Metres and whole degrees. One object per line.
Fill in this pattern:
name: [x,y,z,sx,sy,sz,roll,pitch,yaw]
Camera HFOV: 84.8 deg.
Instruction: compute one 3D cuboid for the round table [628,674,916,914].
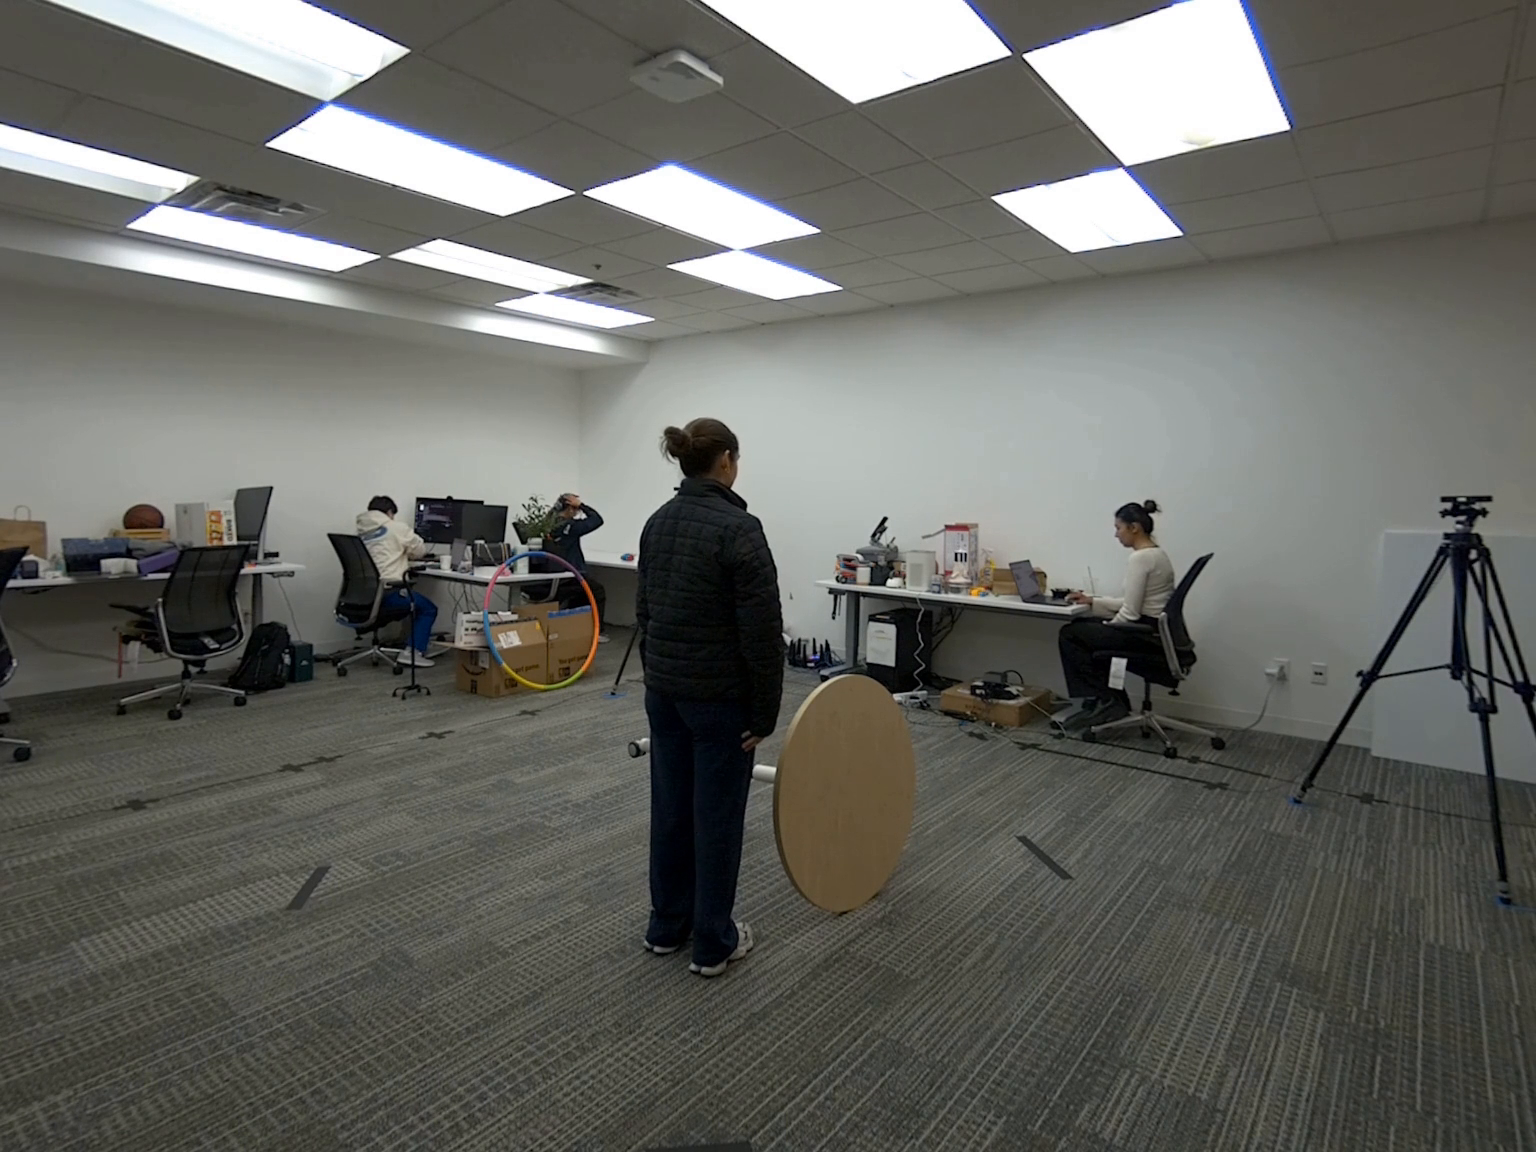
round table: [0.000,0.723,3.148,0.810,0.786,0.761,-3,0,43]
